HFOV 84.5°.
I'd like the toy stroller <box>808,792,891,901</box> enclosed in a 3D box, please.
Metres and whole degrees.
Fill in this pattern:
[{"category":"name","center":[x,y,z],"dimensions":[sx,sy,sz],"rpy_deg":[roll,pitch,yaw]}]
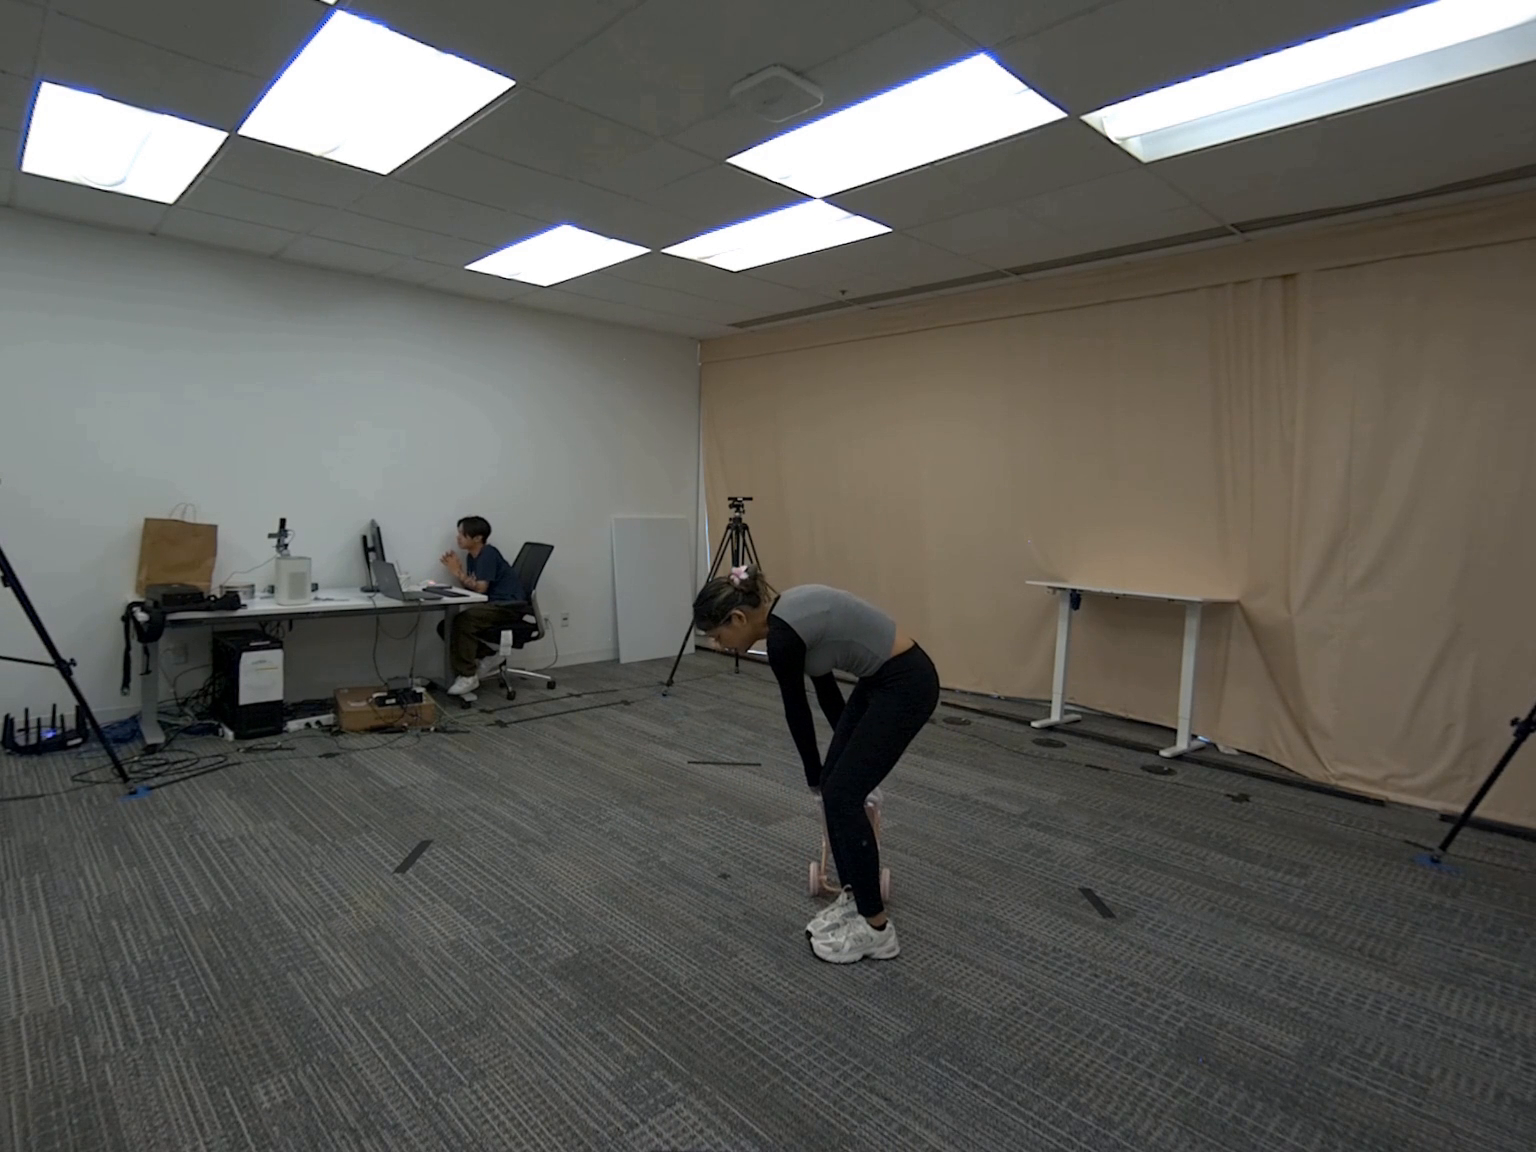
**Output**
[{"category":"toy stroller","center":[0.297,0.907,3.008],"dimensions":[0.284,0.527,0.342],"rpy_deg":[2,19,12]}]
